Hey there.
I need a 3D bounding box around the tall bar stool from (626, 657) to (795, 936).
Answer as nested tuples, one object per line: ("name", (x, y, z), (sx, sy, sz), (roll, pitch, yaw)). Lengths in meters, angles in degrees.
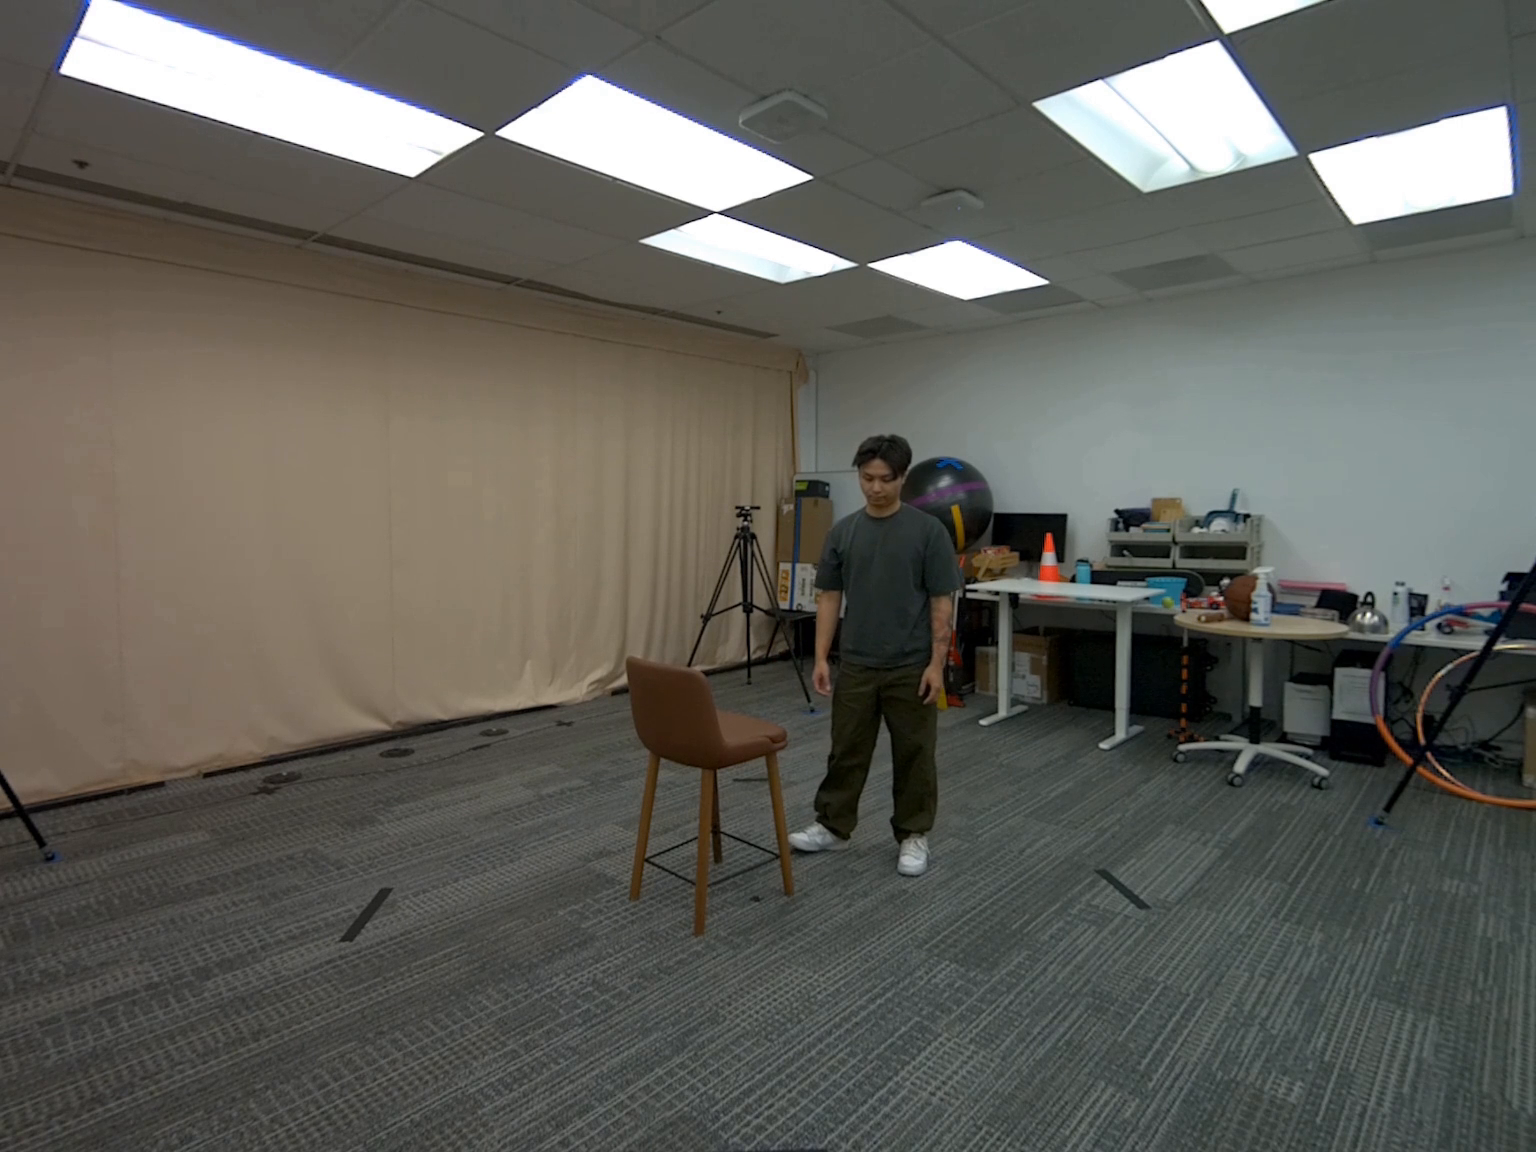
("tall bar stool", (-0.209, 0.710, 2.978), (0.454, 0.887, 0.472), (-7, 7, -44))
